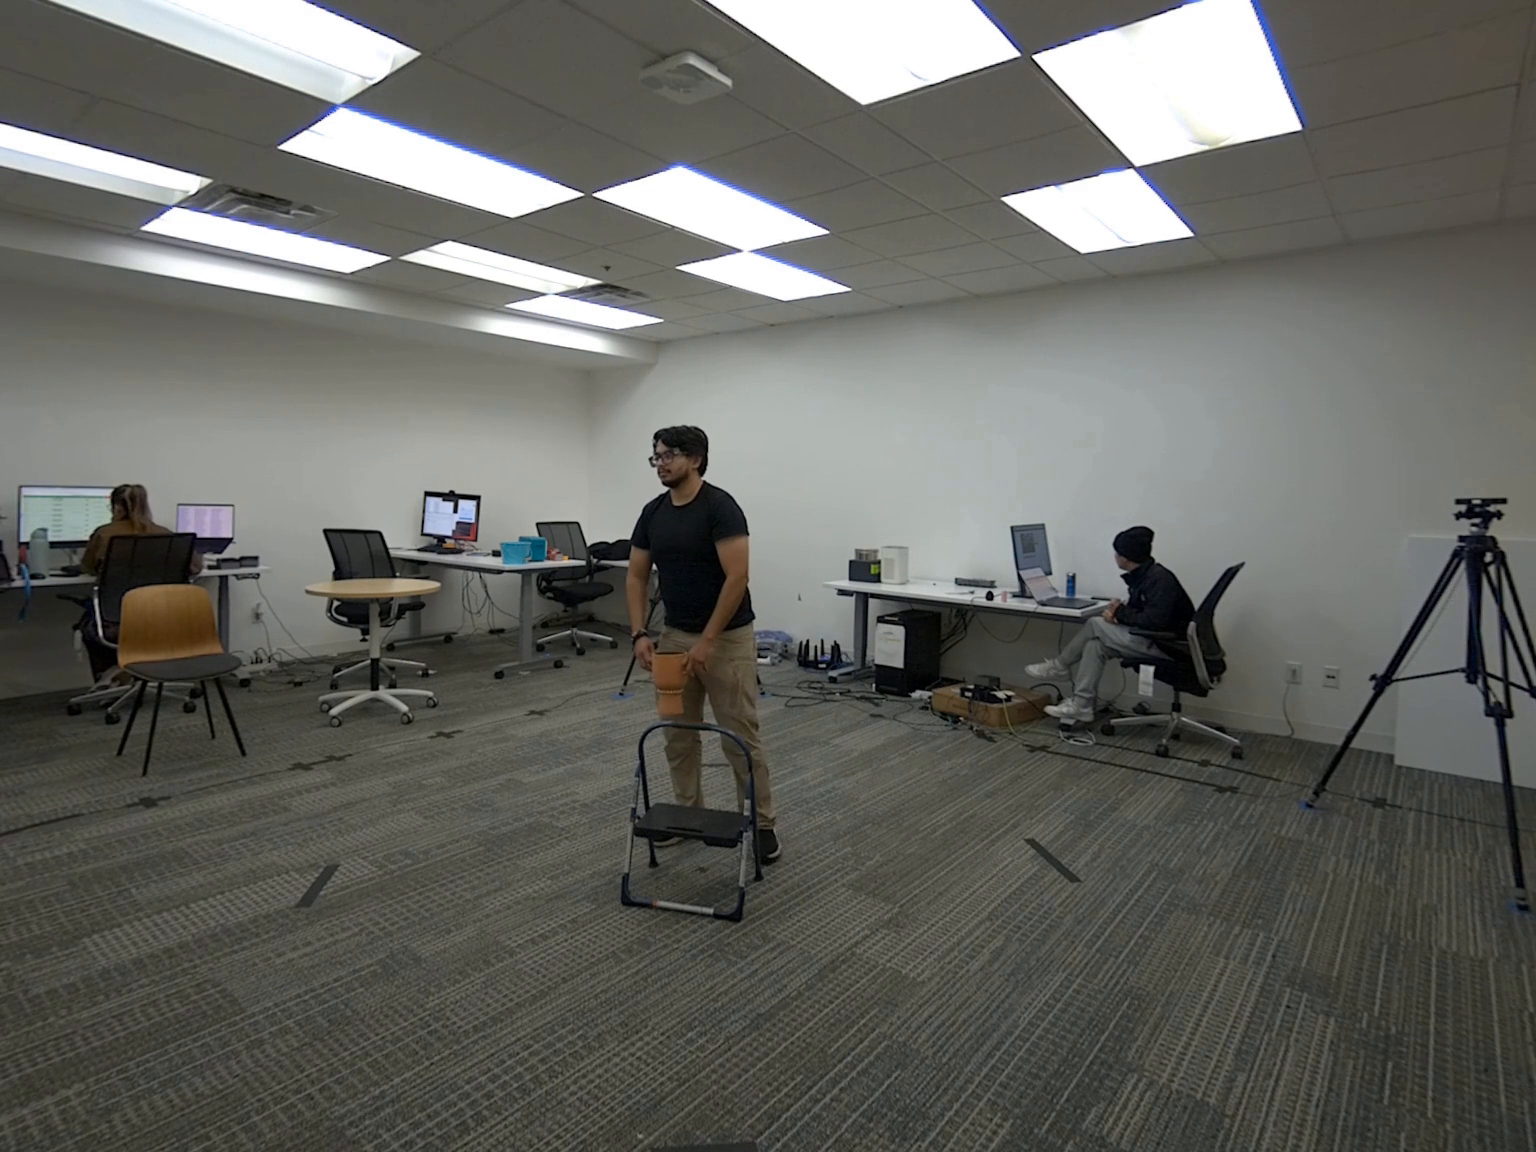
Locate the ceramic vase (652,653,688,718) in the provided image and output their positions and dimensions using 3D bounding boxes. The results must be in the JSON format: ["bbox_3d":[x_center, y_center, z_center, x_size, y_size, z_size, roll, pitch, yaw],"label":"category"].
[{"bbox_3d":[-0.364,0.392,3.164,0.132,0.220,0.161,-1,1,-16],"label":"ceramic vase"}]
